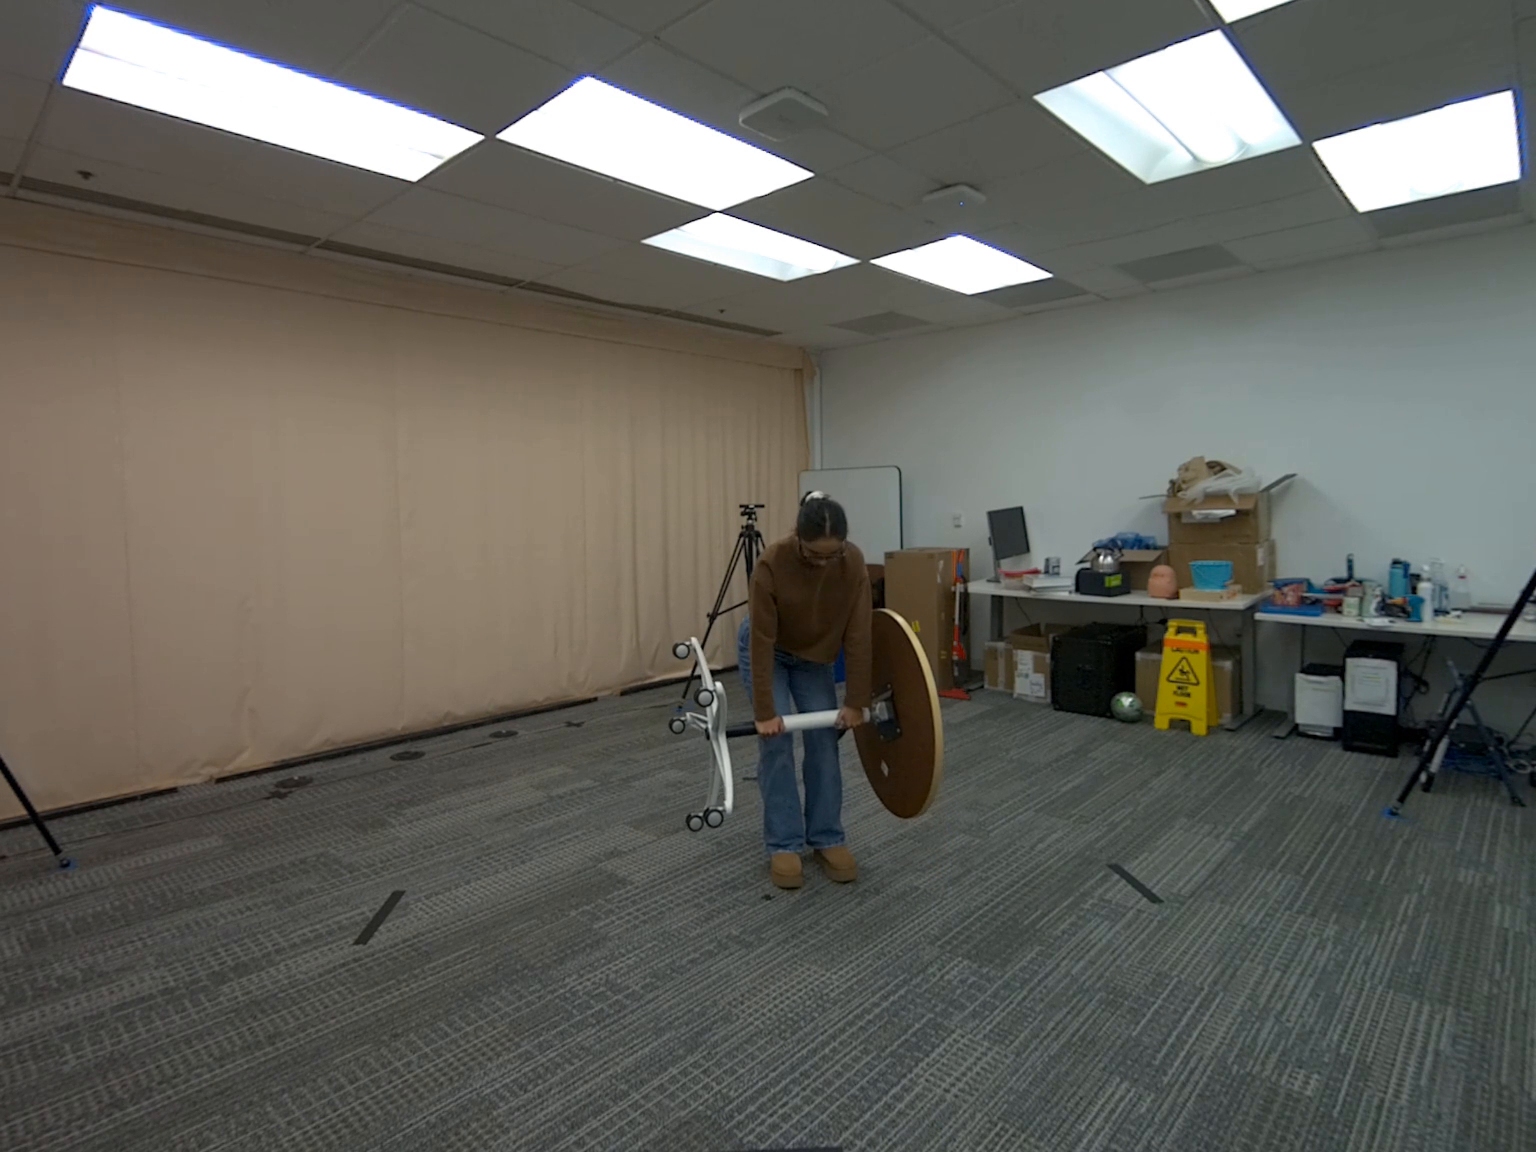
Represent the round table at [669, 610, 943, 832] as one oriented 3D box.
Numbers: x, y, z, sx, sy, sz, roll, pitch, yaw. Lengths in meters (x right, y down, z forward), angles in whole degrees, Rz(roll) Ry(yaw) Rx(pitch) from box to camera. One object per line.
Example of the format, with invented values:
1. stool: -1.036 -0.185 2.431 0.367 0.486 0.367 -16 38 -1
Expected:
1. round table: 0.090 0.553 3.068 0.783 0.761 0.777 -5 5 -15
